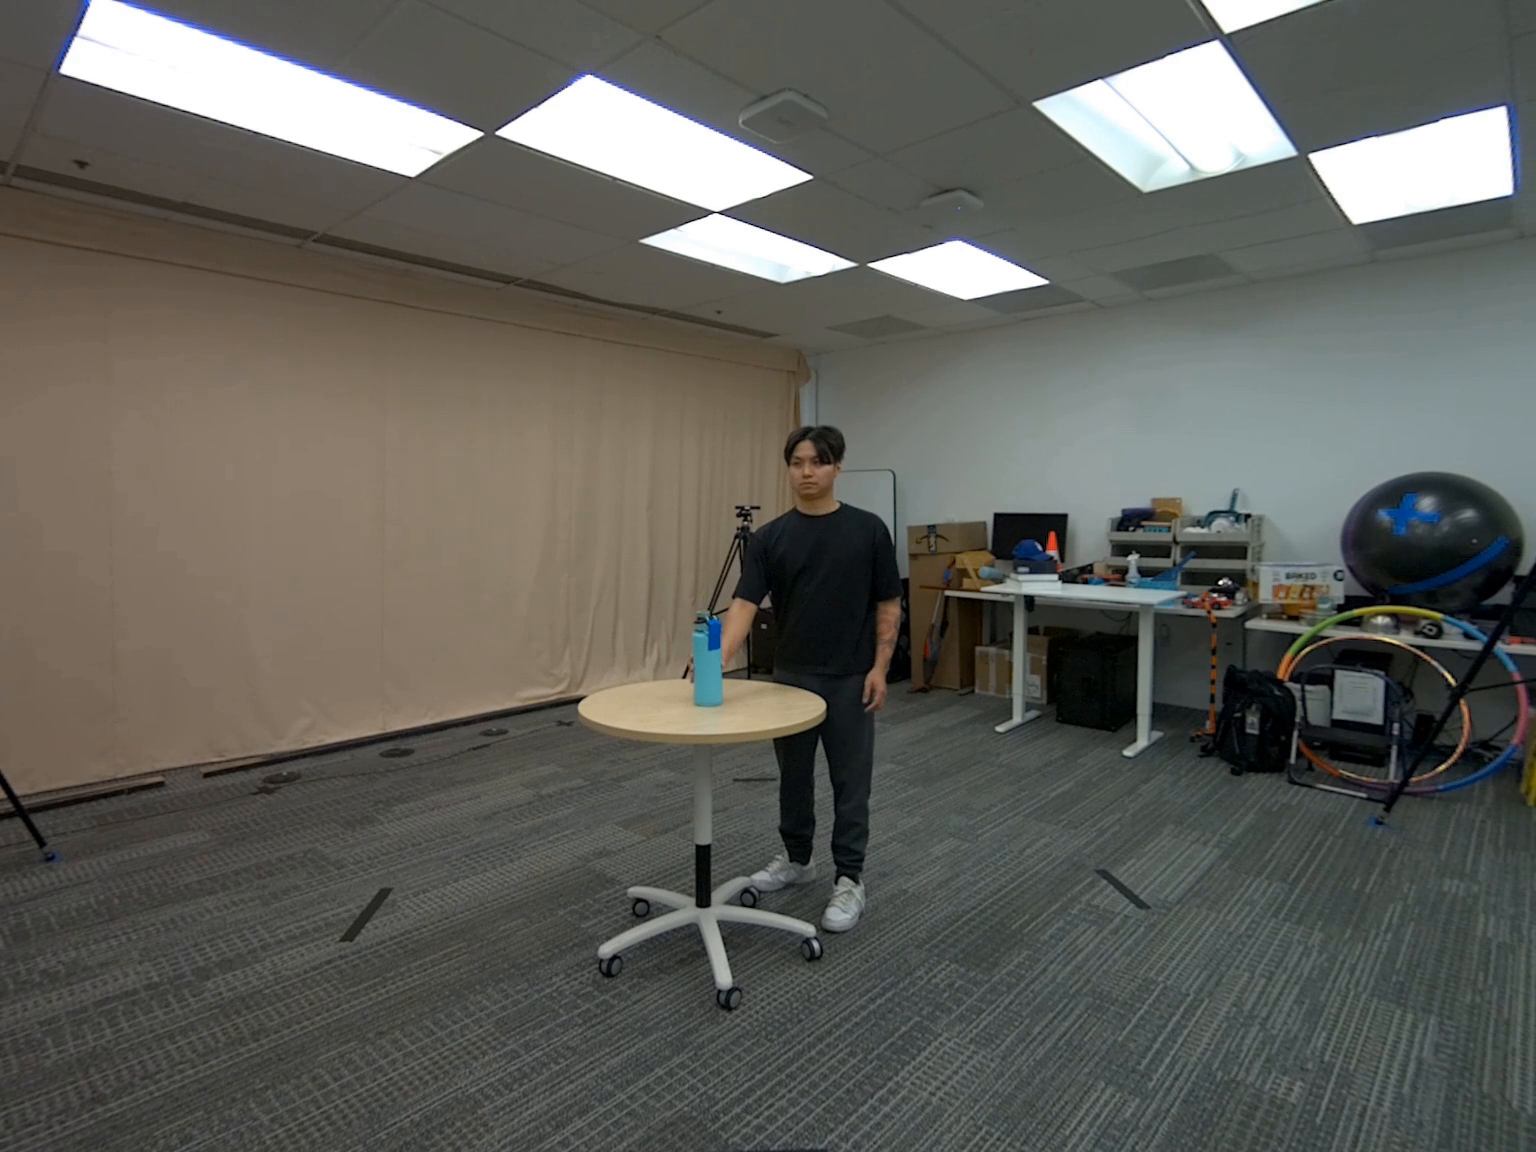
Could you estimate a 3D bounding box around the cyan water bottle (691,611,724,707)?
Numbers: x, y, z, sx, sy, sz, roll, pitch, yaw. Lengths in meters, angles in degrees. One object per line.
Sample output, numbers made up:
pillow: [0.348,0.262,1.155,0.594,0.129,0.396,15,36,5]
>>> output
cyan water bottle: [-0.178,0.250,2.587,0.092,0.282,0.093,-1,6,-2]
